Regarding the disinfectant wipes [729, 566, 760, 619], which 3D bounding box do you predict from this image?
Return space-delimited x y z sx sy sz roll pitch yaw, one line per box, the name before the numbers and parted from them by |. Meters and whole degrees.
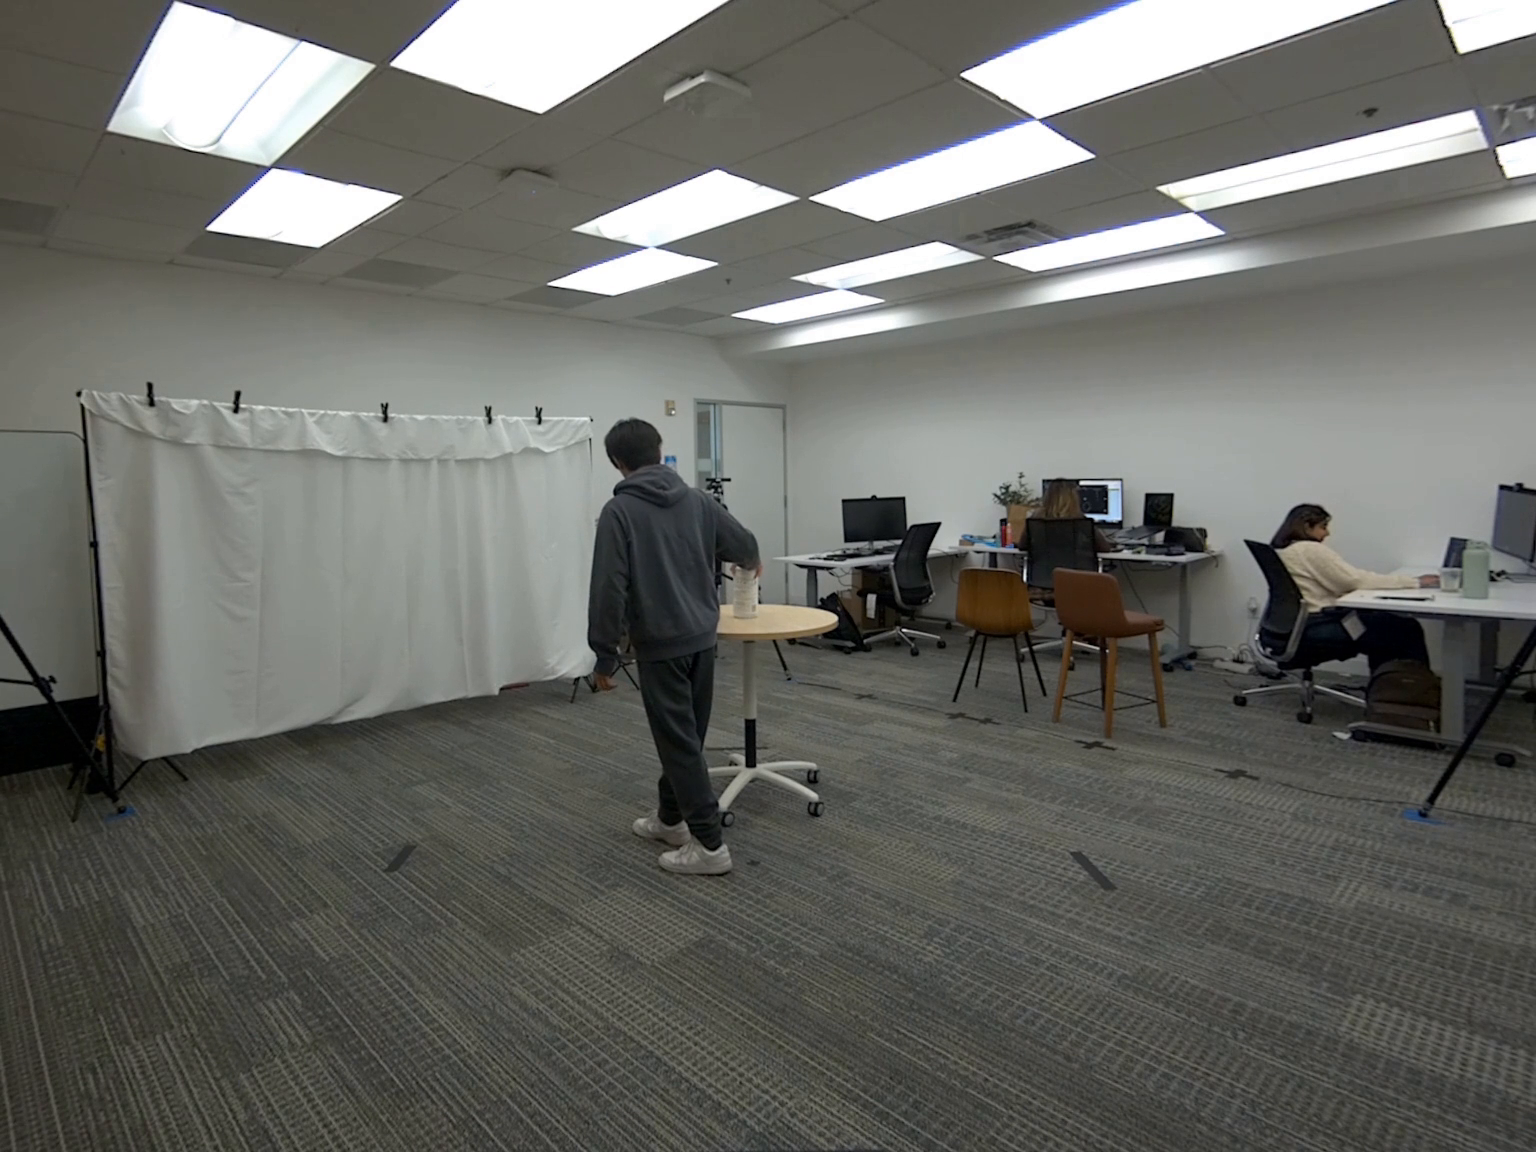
disinfectant wipes | -0.094 0.068 3.697 0.118 0.215 0.119 -2 11 -1
